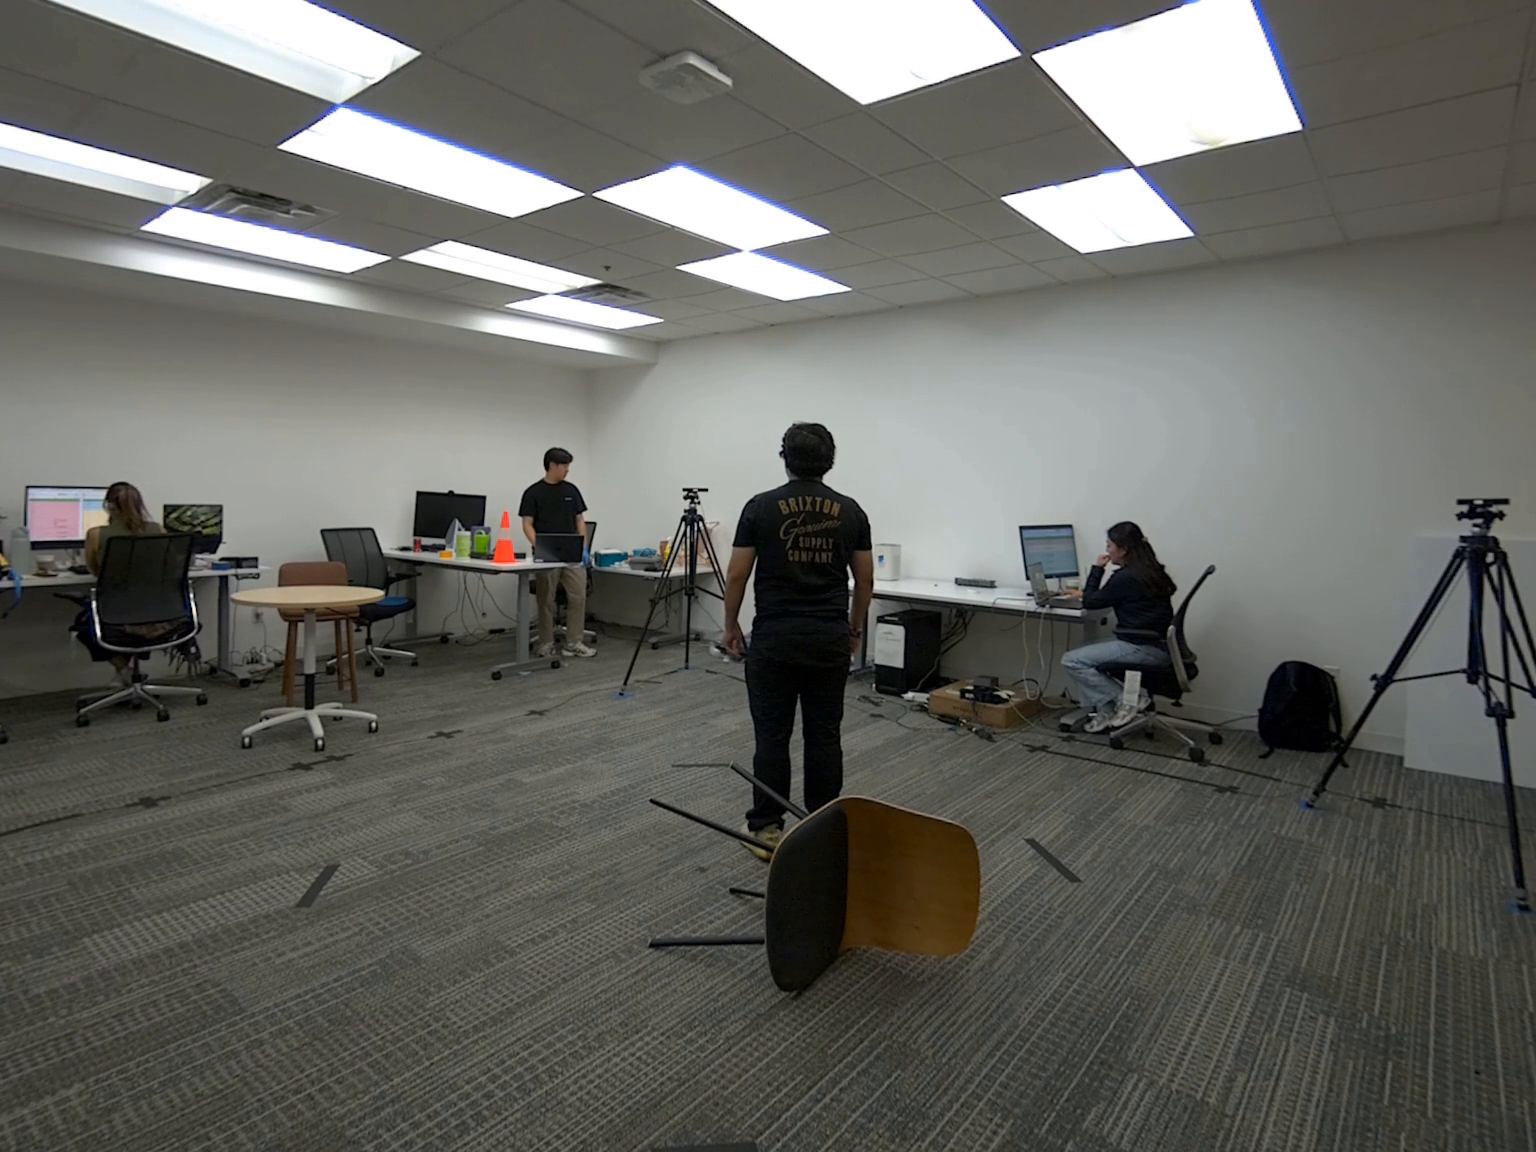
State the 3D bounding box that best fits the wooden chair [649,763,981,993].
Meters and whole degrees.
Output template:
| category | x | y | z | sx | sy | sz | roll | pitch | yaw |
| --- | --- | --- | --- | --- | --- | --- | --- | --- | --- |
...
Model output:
| category | x | y | z | sx | sy | sz | roll | pitch | yaw |
| --- | --- | --- | --- | --- | --- | --- | --- | --- | --- |
| wooden chair | 0.118 | 0.907 | 2.504 | 0.902 | 0.477 | 0.510 | 4 | 4 | 29 |
